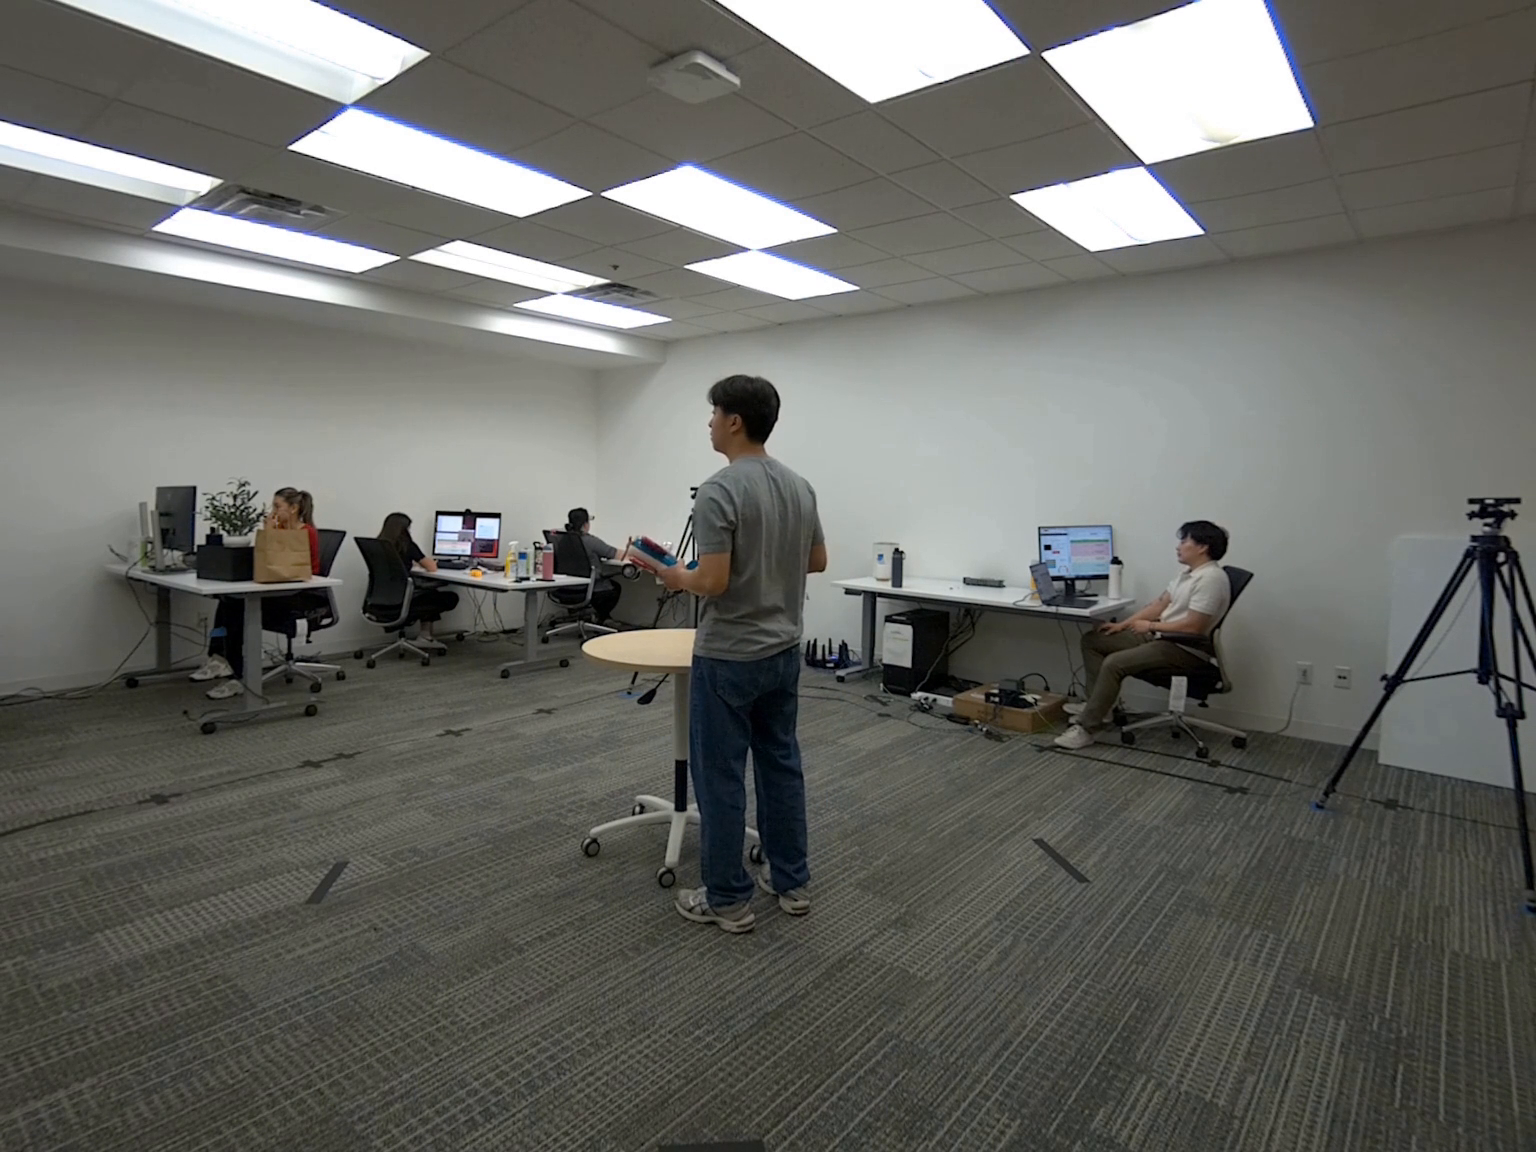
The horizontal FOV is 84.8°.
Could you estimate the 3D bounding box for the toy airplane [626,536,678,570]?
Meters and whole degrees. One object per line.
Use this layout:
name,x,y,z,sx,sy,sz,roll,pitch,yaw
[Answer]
toy airplane,-0.373,-0.067,2.922,0.252,0.156,0.258,17,-1,-24
